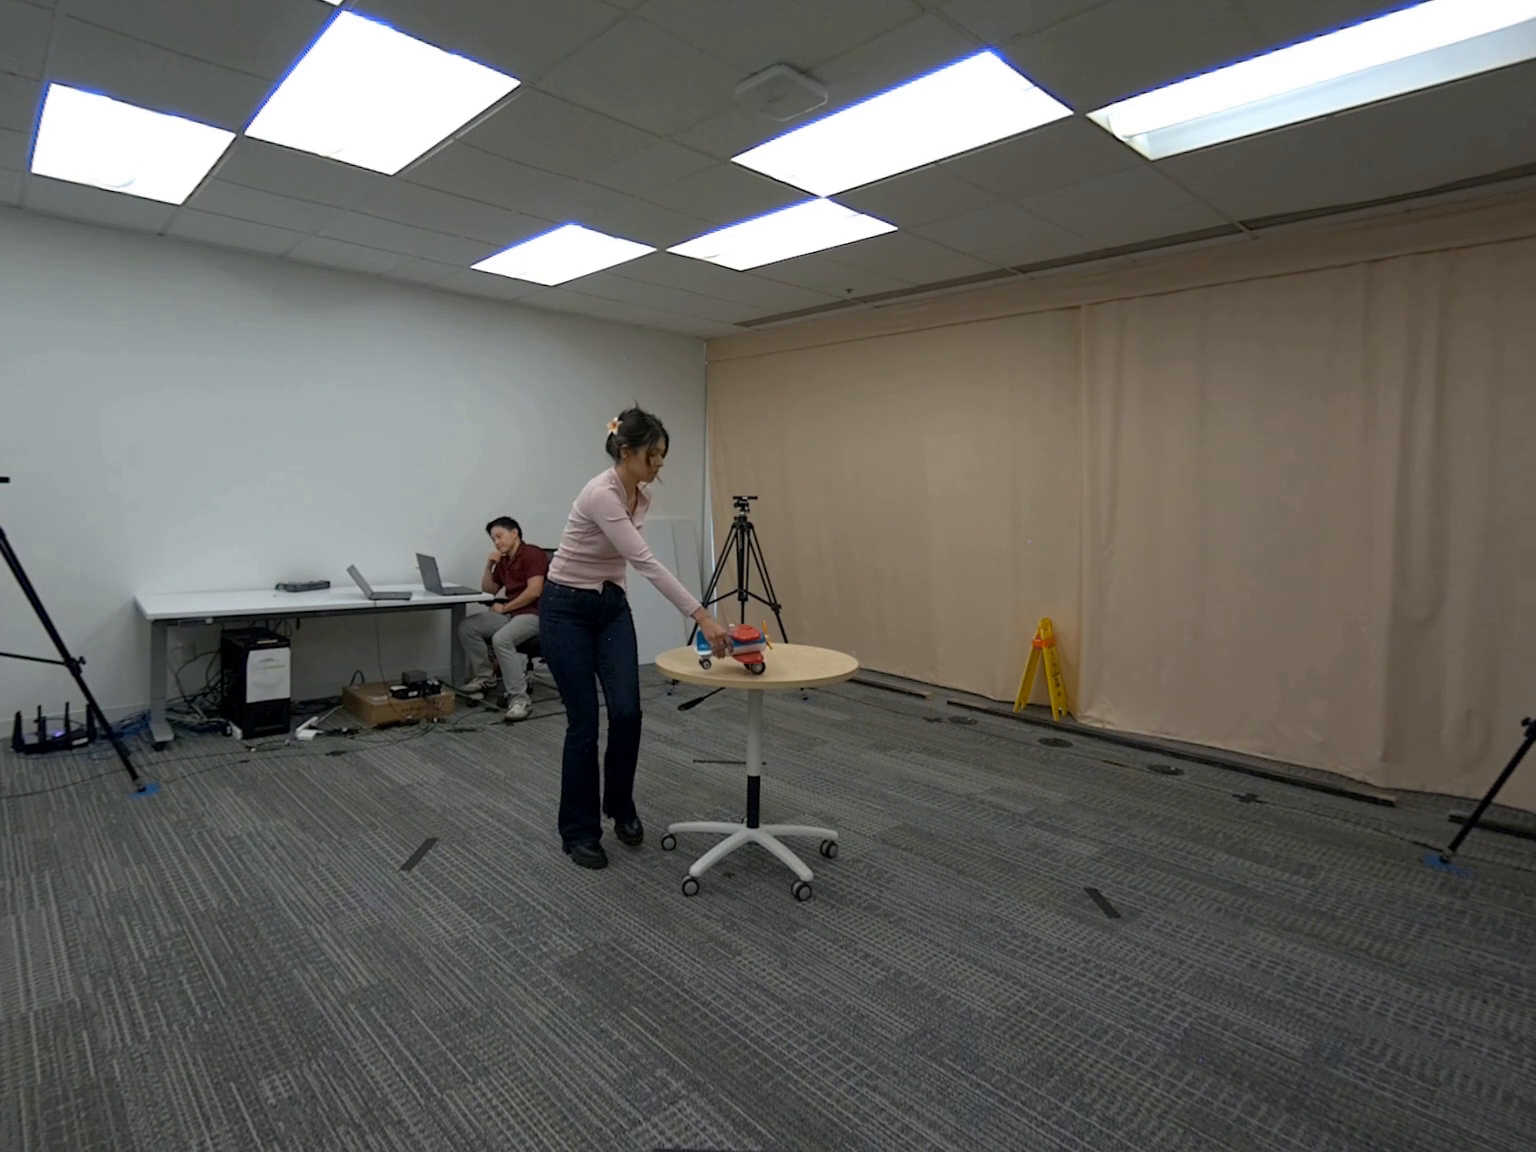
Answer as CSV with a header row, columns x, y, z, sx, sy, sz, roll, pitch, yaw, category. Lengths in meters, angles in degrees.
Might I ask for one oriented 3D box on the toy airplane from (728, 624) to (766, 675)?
x,y,z,sx,sy,sz,roll,pitch,yaw,category
-0.108,0.253,2.900,0.253,0.156,0.258,5,4,-42,toy airplane
